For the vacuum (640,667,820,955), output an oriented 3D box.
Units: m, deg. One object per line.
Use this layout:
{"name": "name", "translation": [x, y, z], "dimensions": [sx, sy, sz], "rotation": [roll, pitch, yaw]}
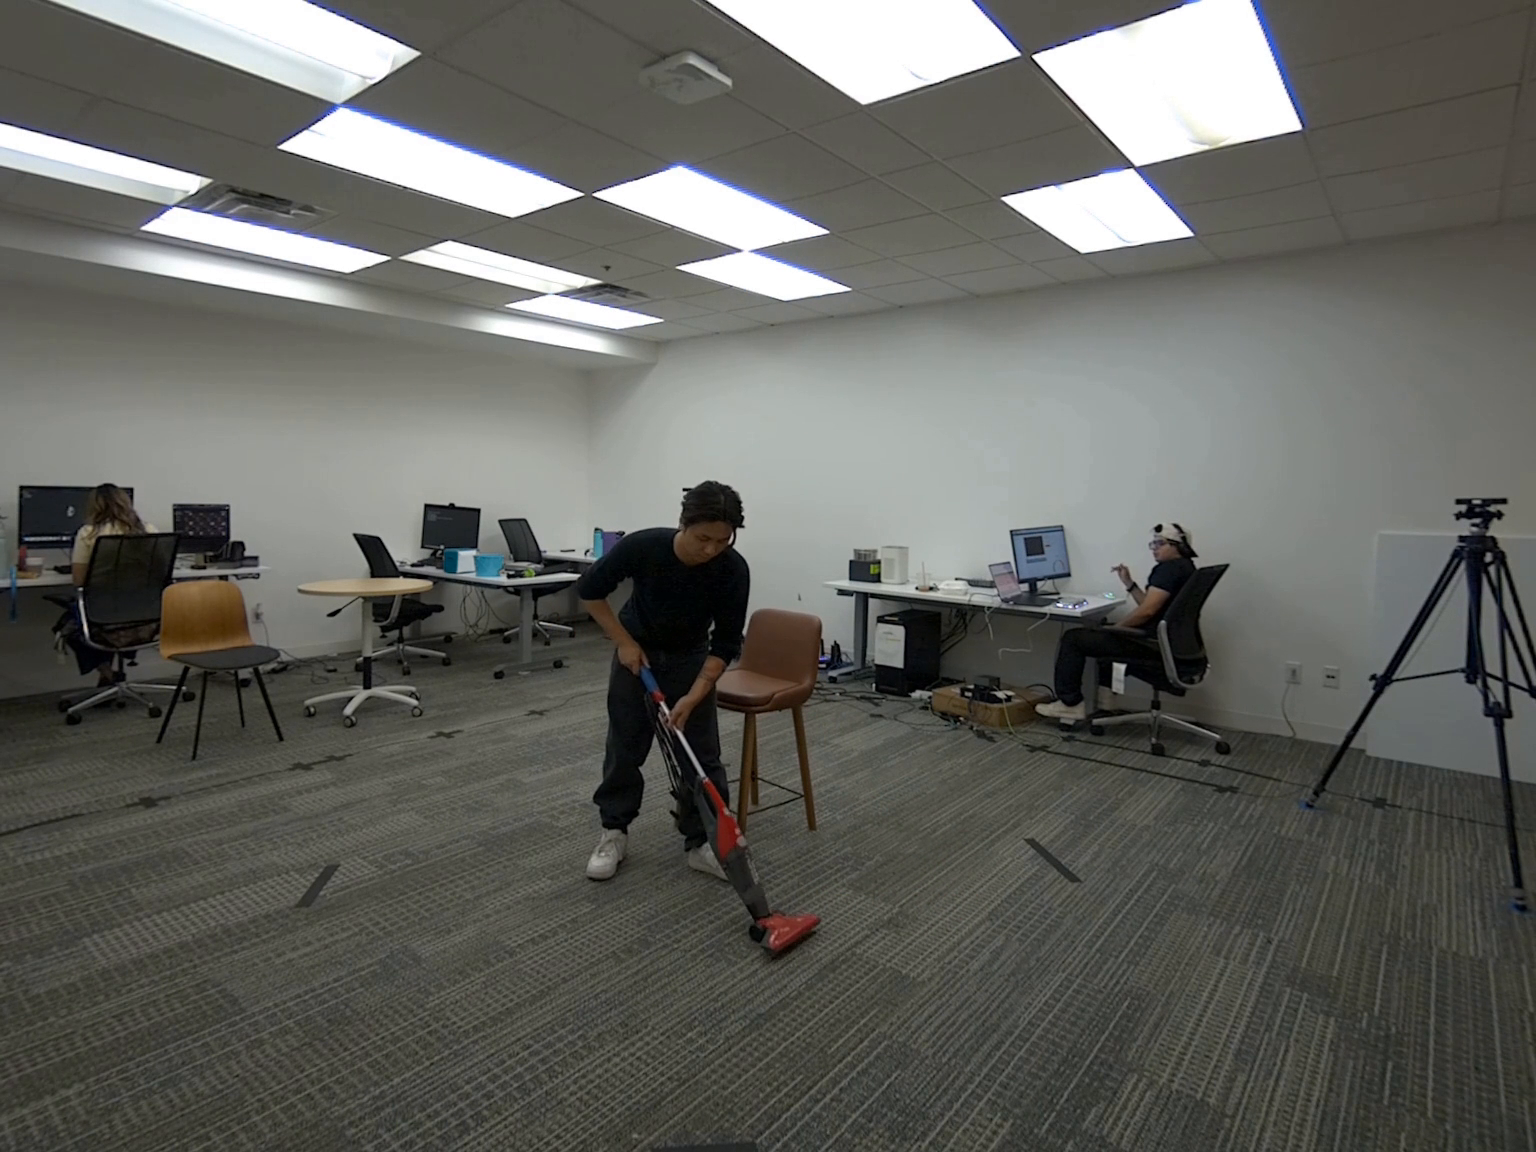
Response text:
{"name": "vacuum", "translation": [-0.233, 0.700, 2.832], "dimensions": [0.245, 1.082, 0.144], "rotation": [-2, -39, -52]}
